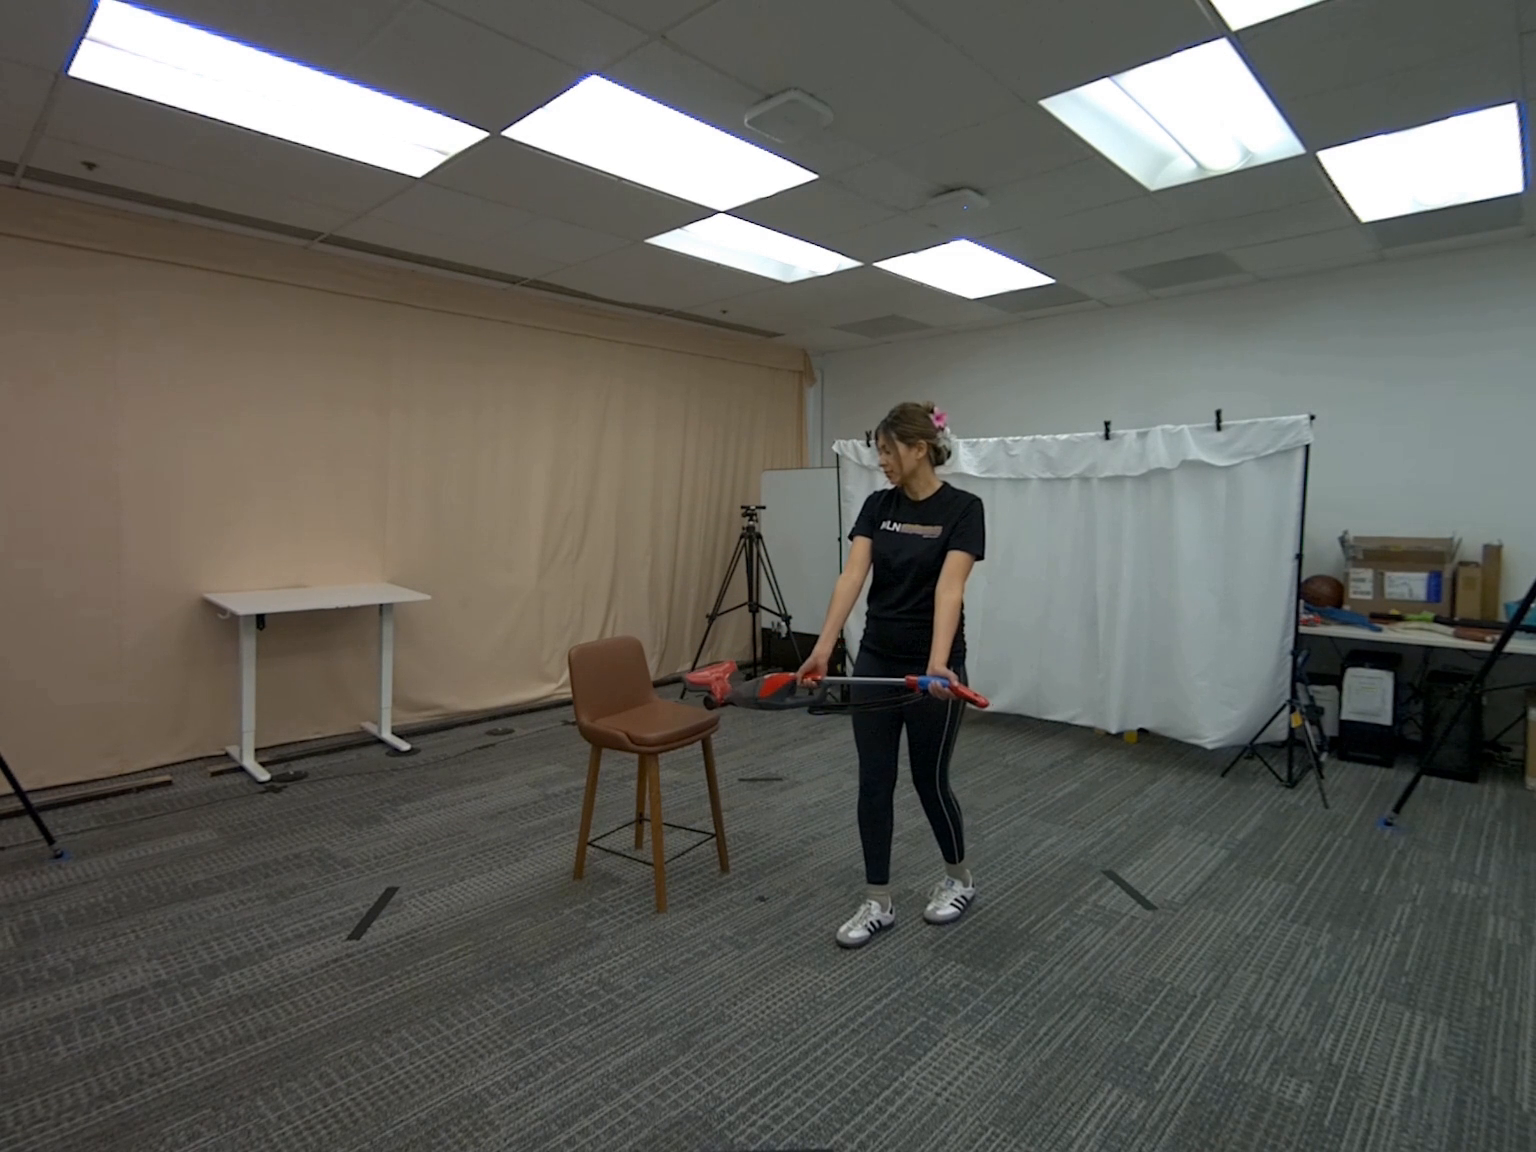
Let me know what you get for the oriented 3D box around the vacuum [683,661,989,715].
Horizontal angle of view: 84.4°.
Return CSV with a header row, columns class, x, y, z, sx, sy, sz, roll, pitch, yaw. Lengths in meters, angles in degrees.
class,x,y,z,sx,sy,sz,roll,pitch,yaw
vacuum,0.185,0.376,2.591,1.081,0.143,0.245,-4,6,45
